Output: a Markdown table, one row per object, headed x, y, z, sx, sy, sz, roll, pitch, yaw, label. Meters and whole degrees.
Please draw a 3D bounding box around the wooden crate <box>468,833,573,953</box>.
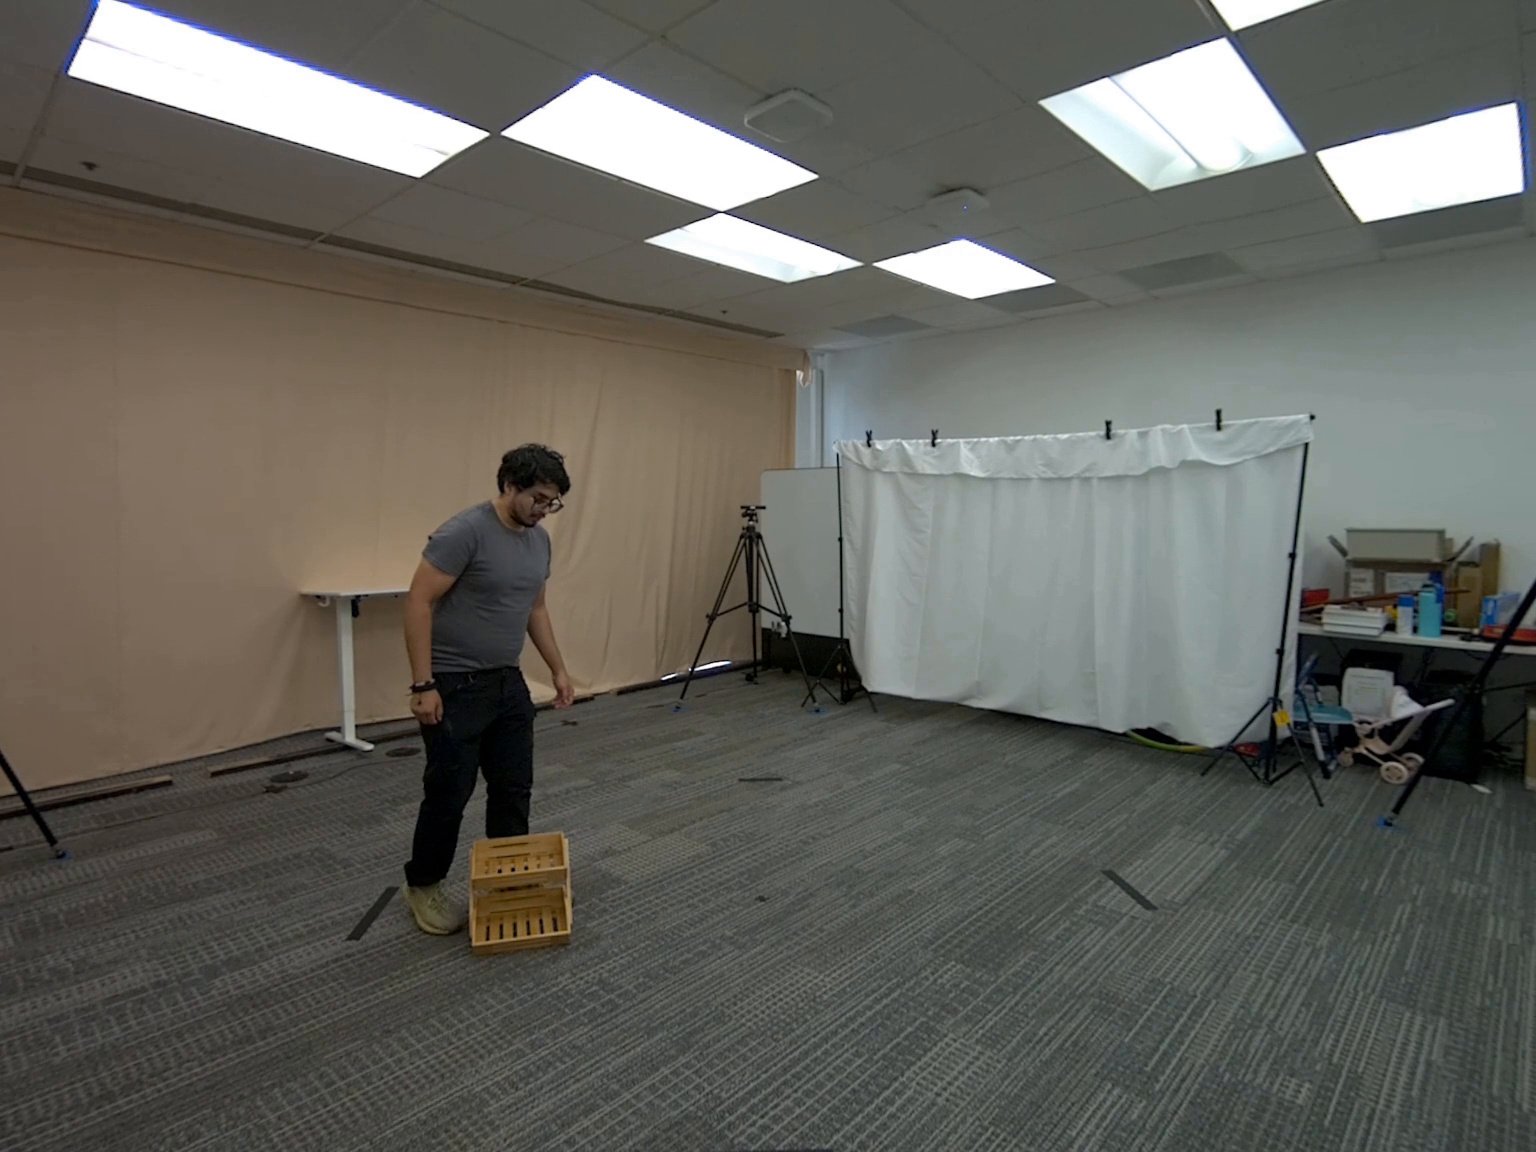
| x | y | z | sx | sy | sz | roll | pitch | yaw | label |
| --- | --- | --- | --- | --- | --- | --- | --- | --- | --- |
| -0.814 | 1.040 | 2.756 | 0.319 | 0.273 | 0.307 | -1 | 3 | -16 | wooden crate |
